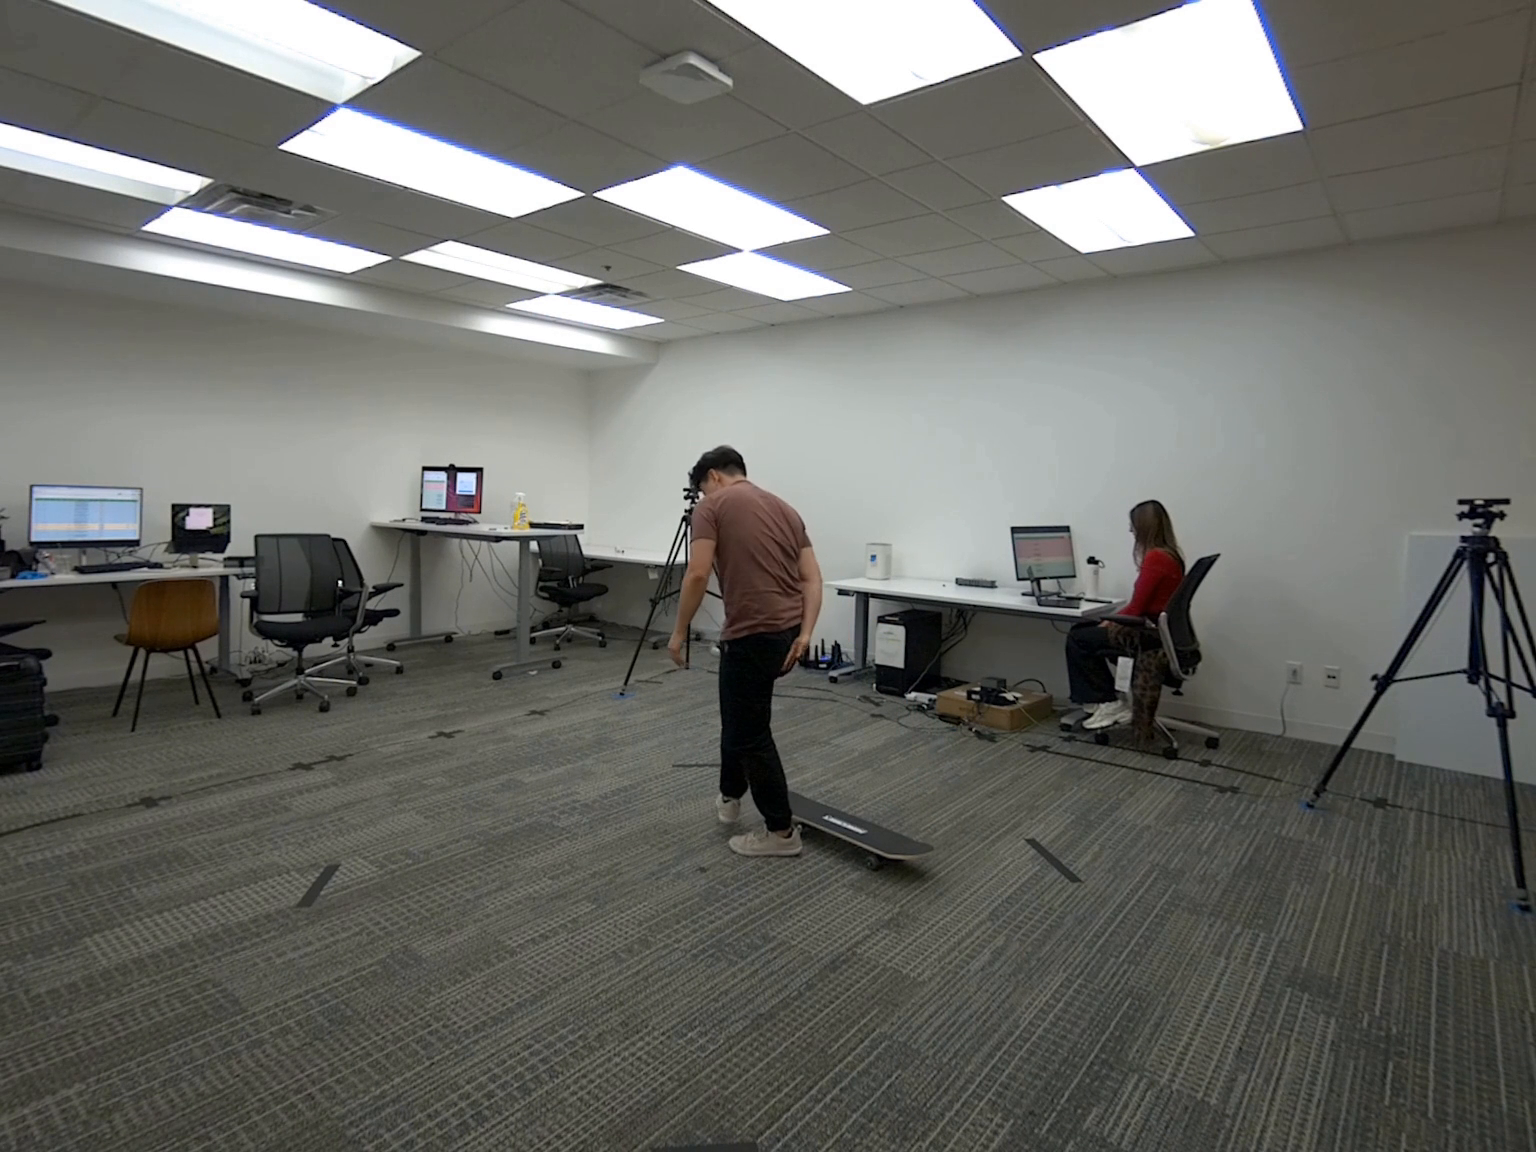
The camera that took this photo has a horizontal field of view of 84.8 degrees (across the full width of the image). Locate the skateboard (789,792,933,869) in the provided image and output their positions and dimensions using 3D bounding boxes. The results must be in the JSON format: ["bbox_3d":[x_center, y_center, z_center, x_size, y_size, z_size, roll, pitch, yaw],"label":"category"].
[{"bbox_3d":[0.291,1.004,3.345,0.187,0.110,0.813,-3,7,-44],"label":"skateboard"}]
